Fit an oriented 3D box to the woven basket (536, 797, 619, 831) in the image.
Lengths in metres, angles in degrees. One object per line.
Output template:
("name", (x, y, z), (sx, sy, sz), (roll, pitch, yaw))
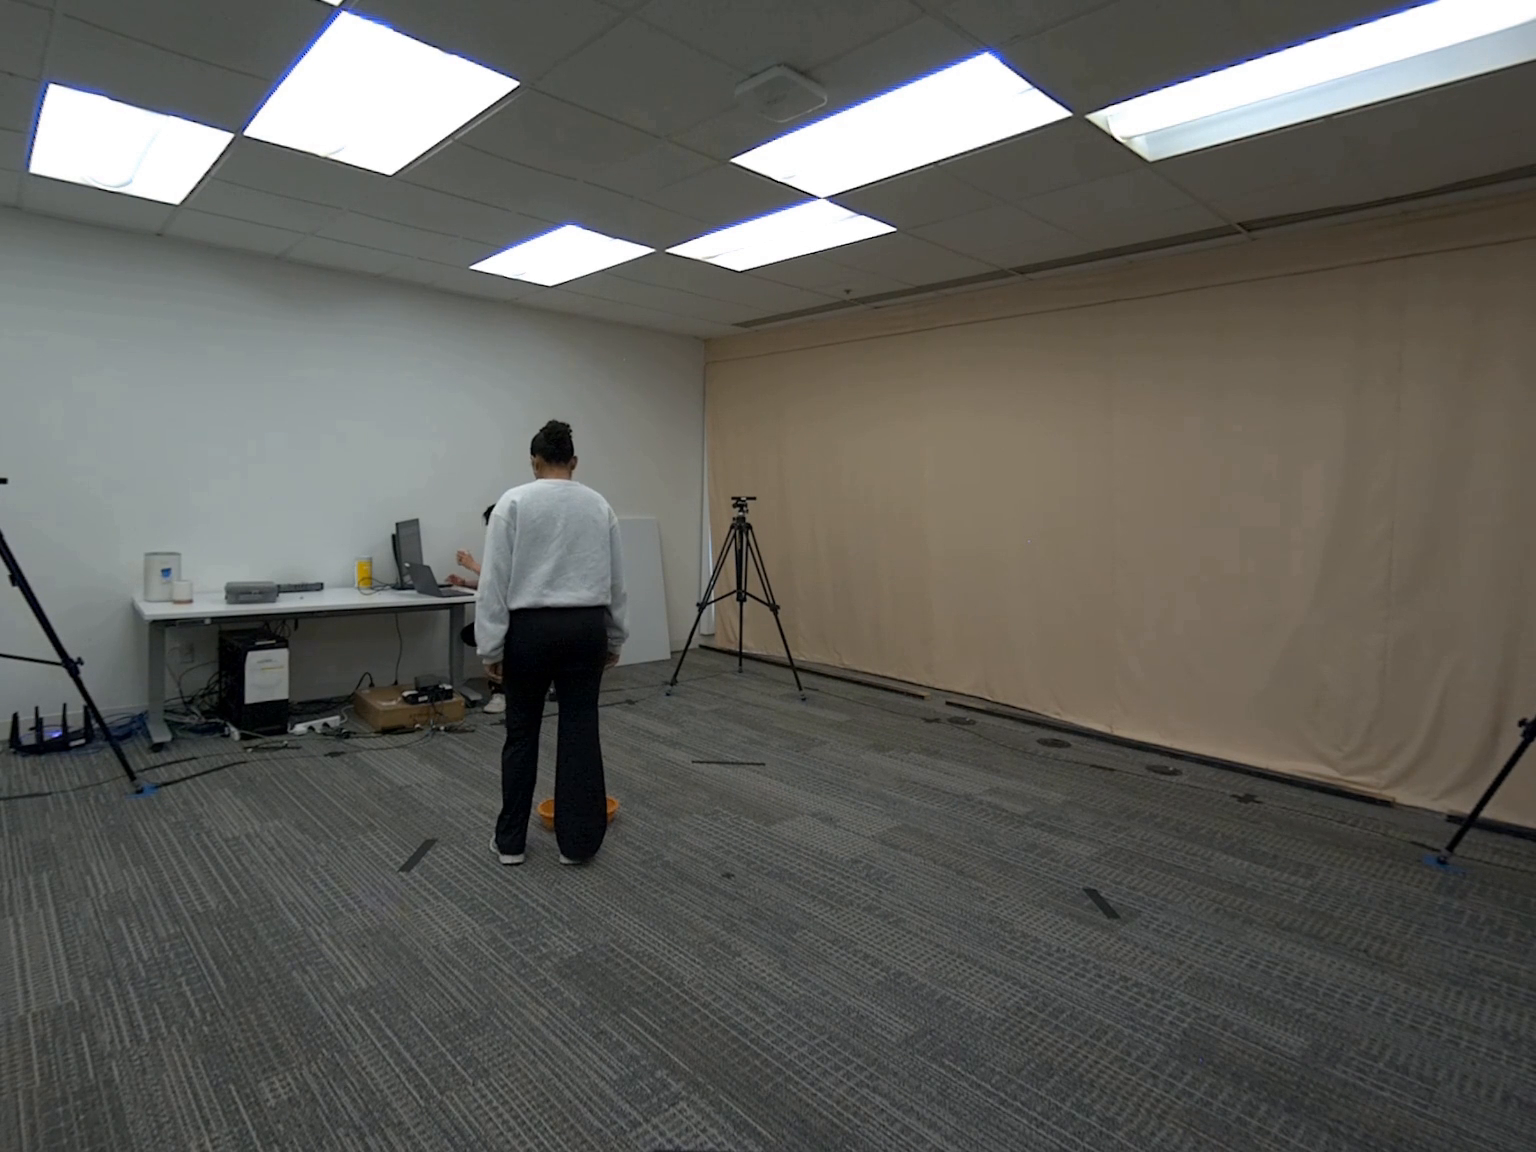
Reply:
("woven basket", (-0.816, 1.012, 3.587), (0.346, 0.073, 0.256), (1, 5, -14))
